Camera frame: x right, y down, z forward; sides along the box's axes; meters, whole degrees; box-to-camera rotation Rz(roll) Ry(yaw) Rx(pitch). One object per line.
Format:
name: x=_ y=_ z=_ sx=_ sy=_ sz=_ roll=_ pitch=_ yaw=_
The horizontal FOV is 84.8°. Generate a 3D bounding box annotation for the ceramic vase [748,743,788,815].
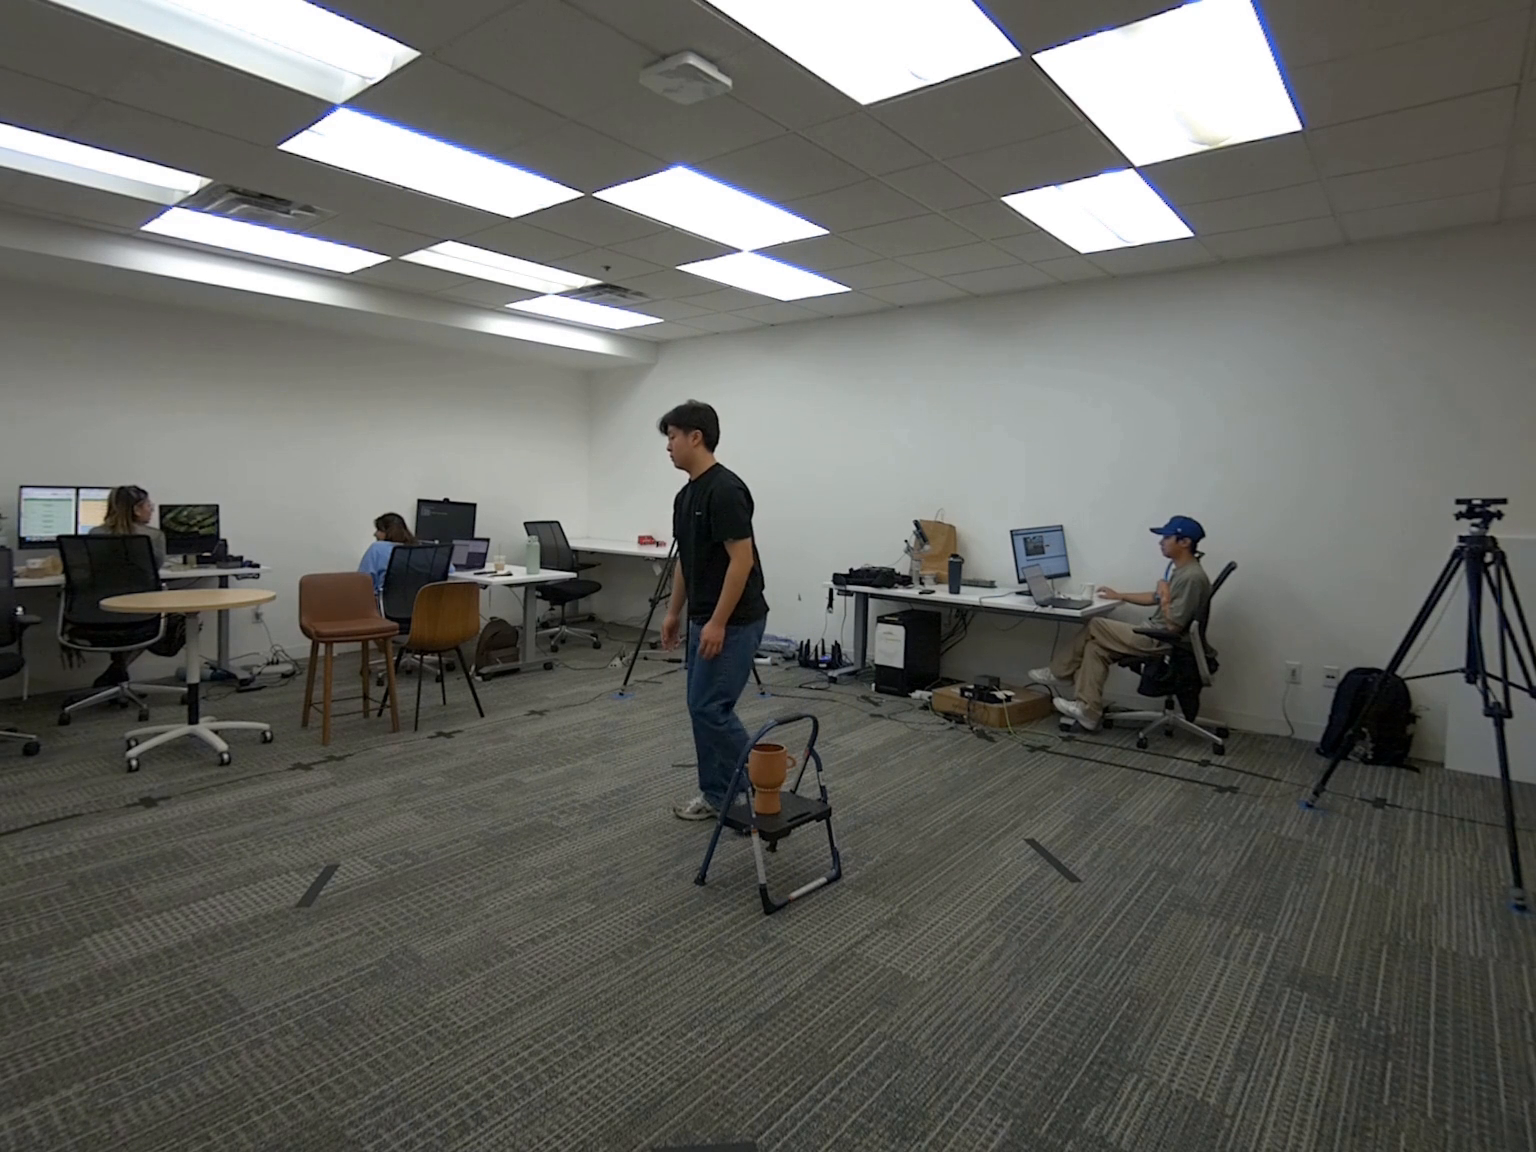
ceramic vase: x=-0.013 y=0.715 z=2.996 sx=0.164 sy=0.219 sz=0.131 roll=2 pitch=3 yaw=32
